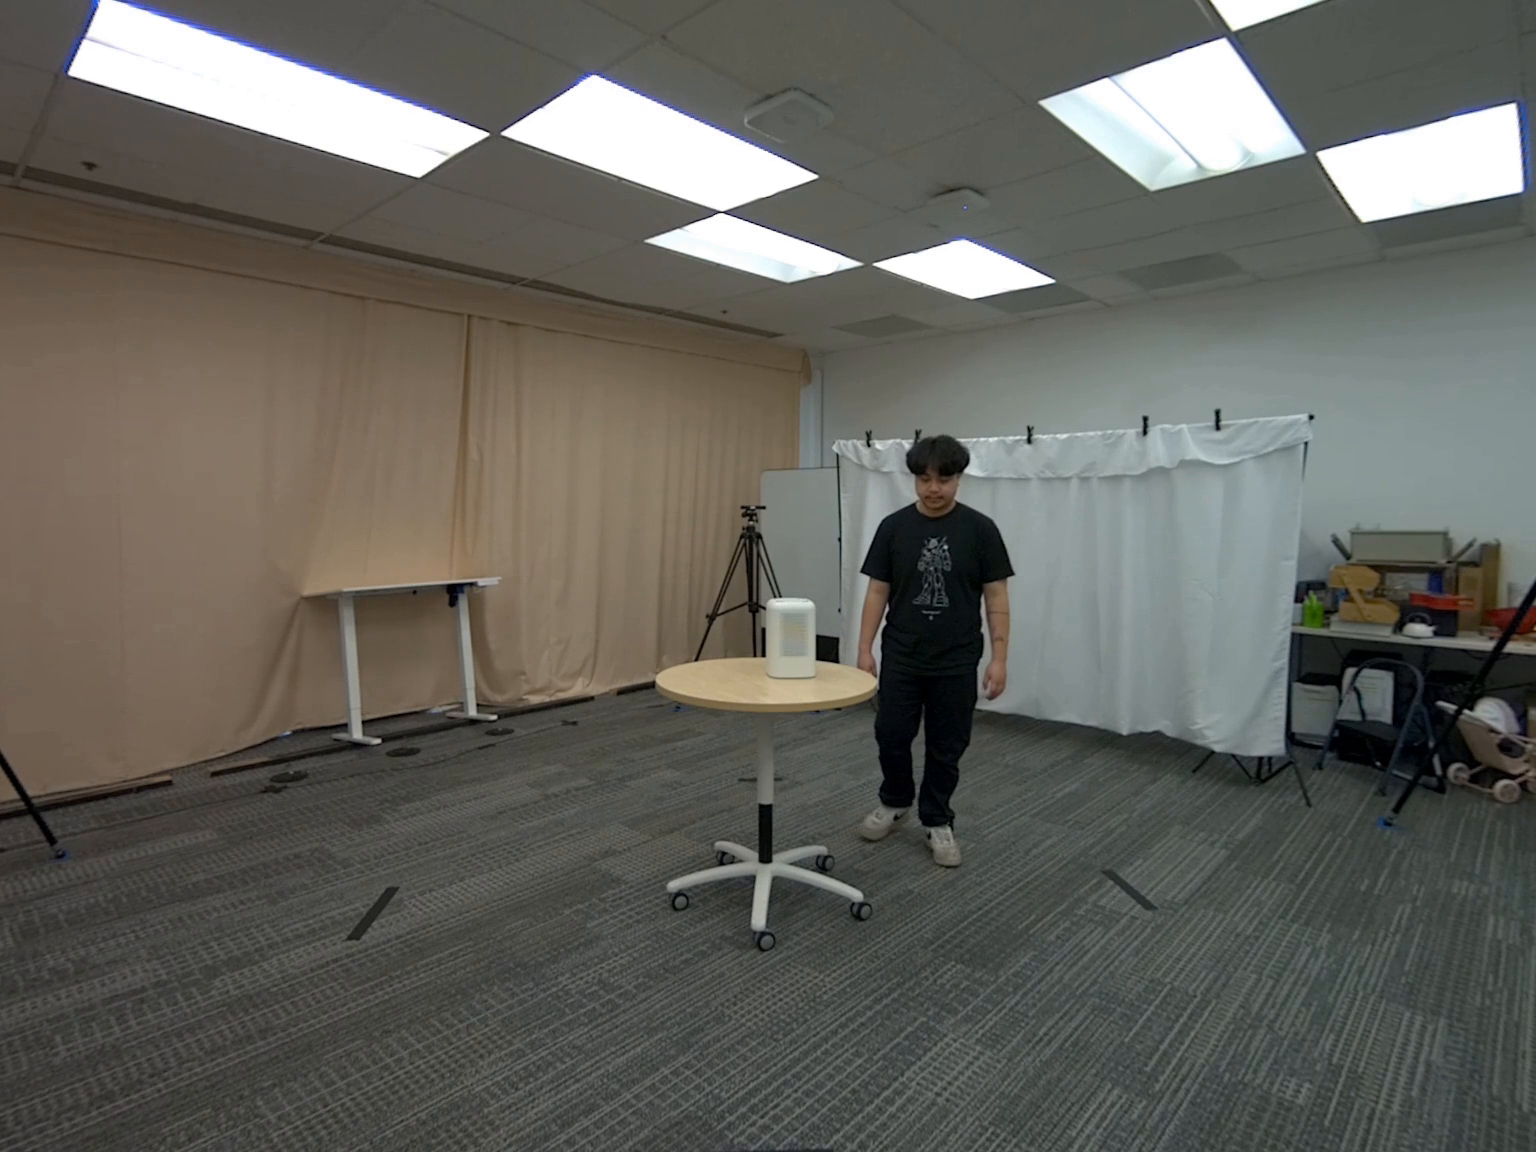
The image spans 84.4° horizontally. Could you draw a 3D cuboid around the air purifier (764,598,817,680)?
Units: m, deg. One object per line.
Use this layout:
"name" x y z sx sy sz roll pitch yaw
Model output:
"air purifier" 0.088 0.218 2.987 0.171 0.265 0.172 1 4 -3
